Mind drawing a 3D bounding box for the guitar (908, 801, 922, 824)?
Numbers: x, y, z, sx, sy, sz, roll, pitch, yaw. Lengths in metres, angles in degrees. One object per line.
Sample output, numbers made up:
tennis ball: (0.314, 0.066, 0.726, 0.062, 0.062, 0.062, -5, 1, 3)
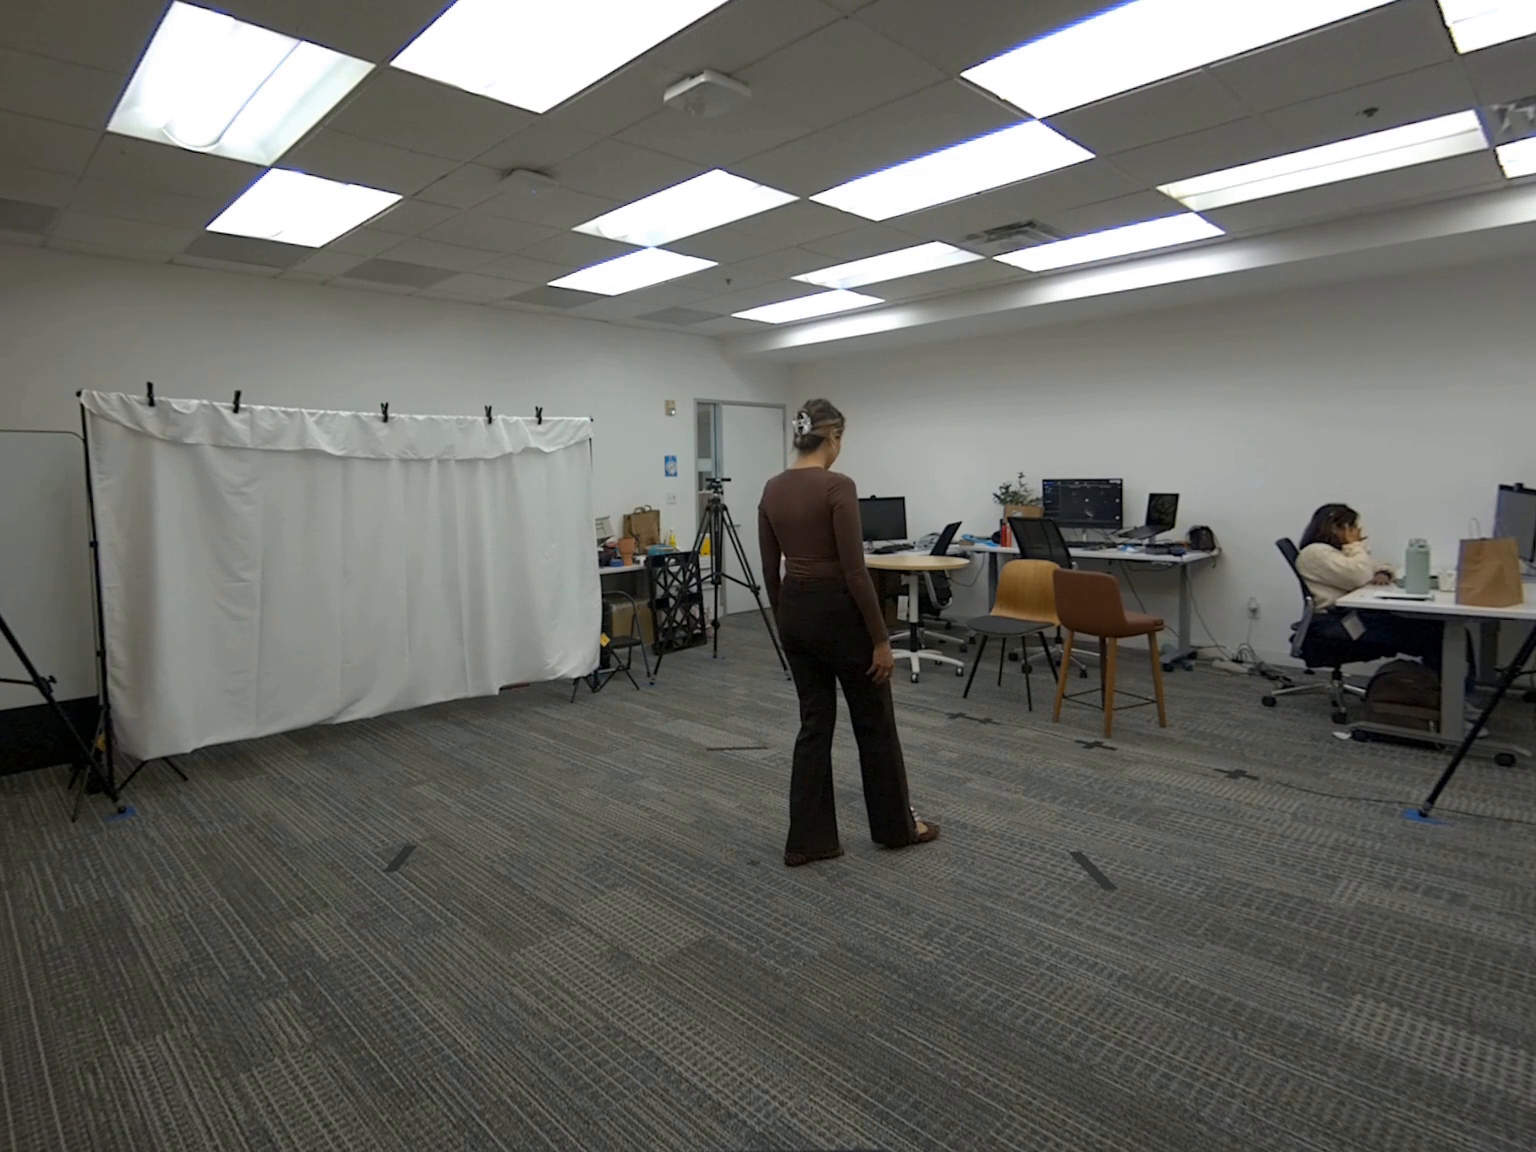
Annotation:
guitar: (0.538, 0.936, 3.587, 0.070, 0.189, 0.511, -2, 23, -11)
